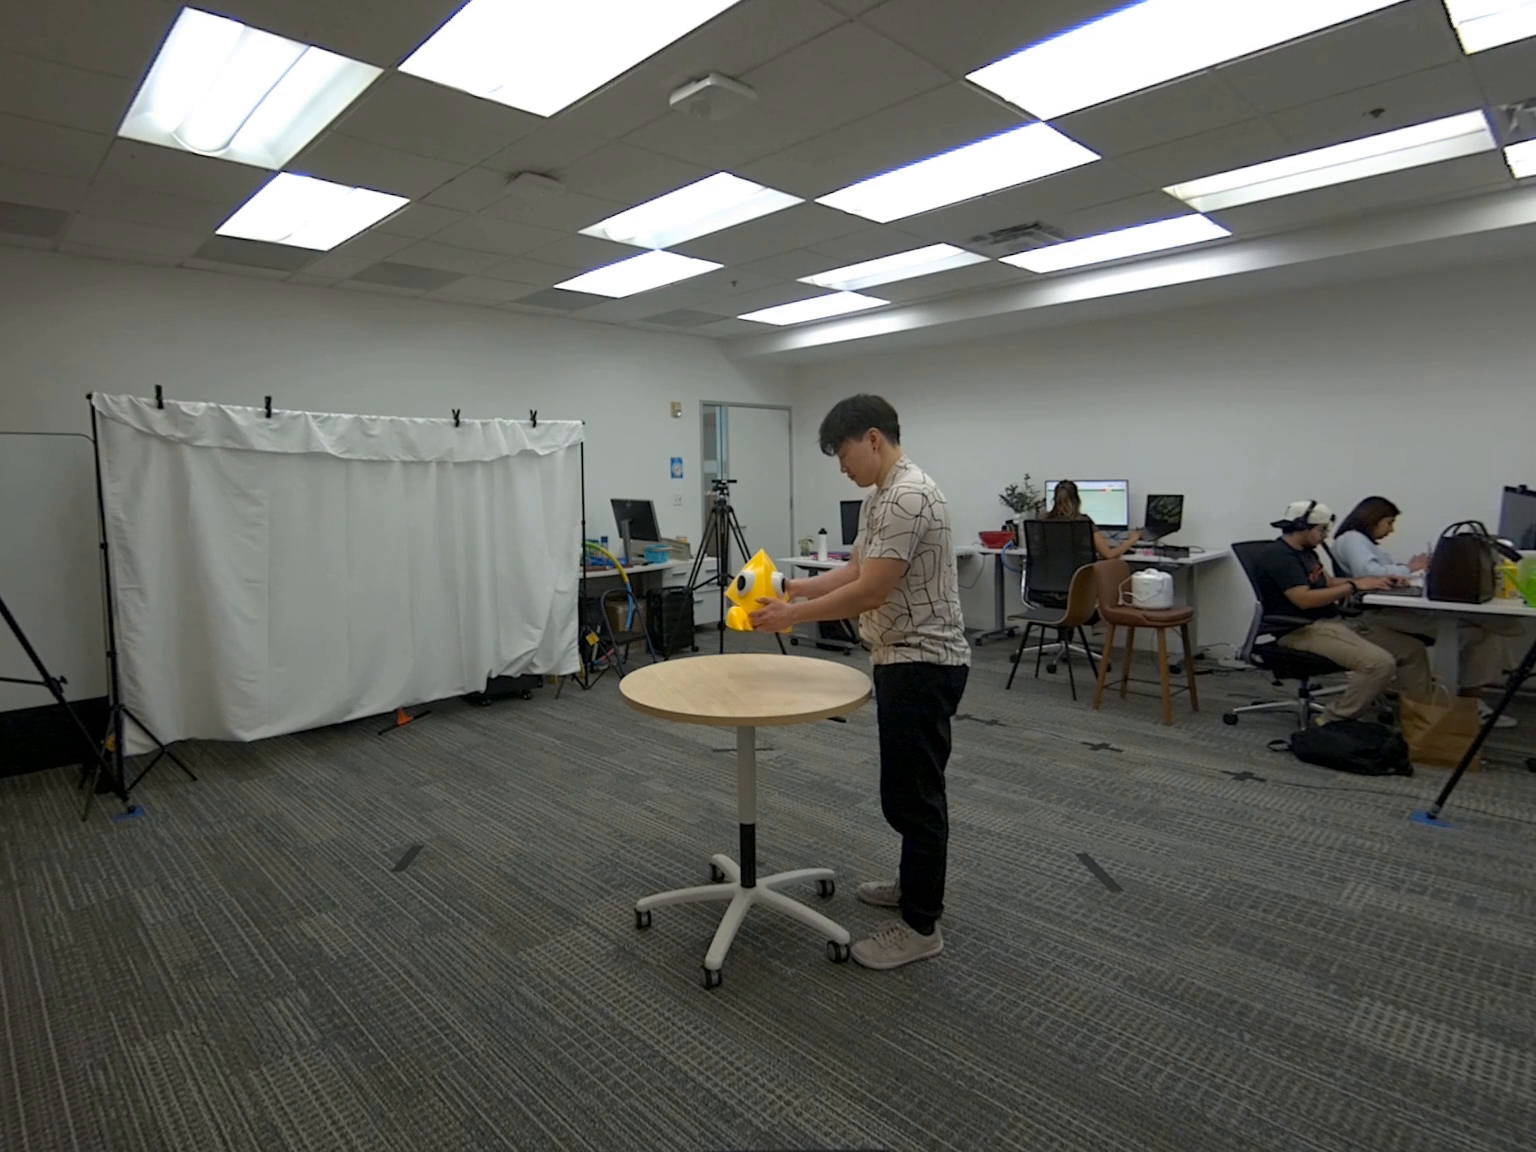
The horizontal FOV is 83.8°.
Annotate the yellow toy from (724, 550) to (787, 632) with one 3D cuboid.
[{"bbox_3d":[-0.013,0.039,2.584,0.203,0.230,0.195,4,4,-7],"label":"yellow toy"}]
